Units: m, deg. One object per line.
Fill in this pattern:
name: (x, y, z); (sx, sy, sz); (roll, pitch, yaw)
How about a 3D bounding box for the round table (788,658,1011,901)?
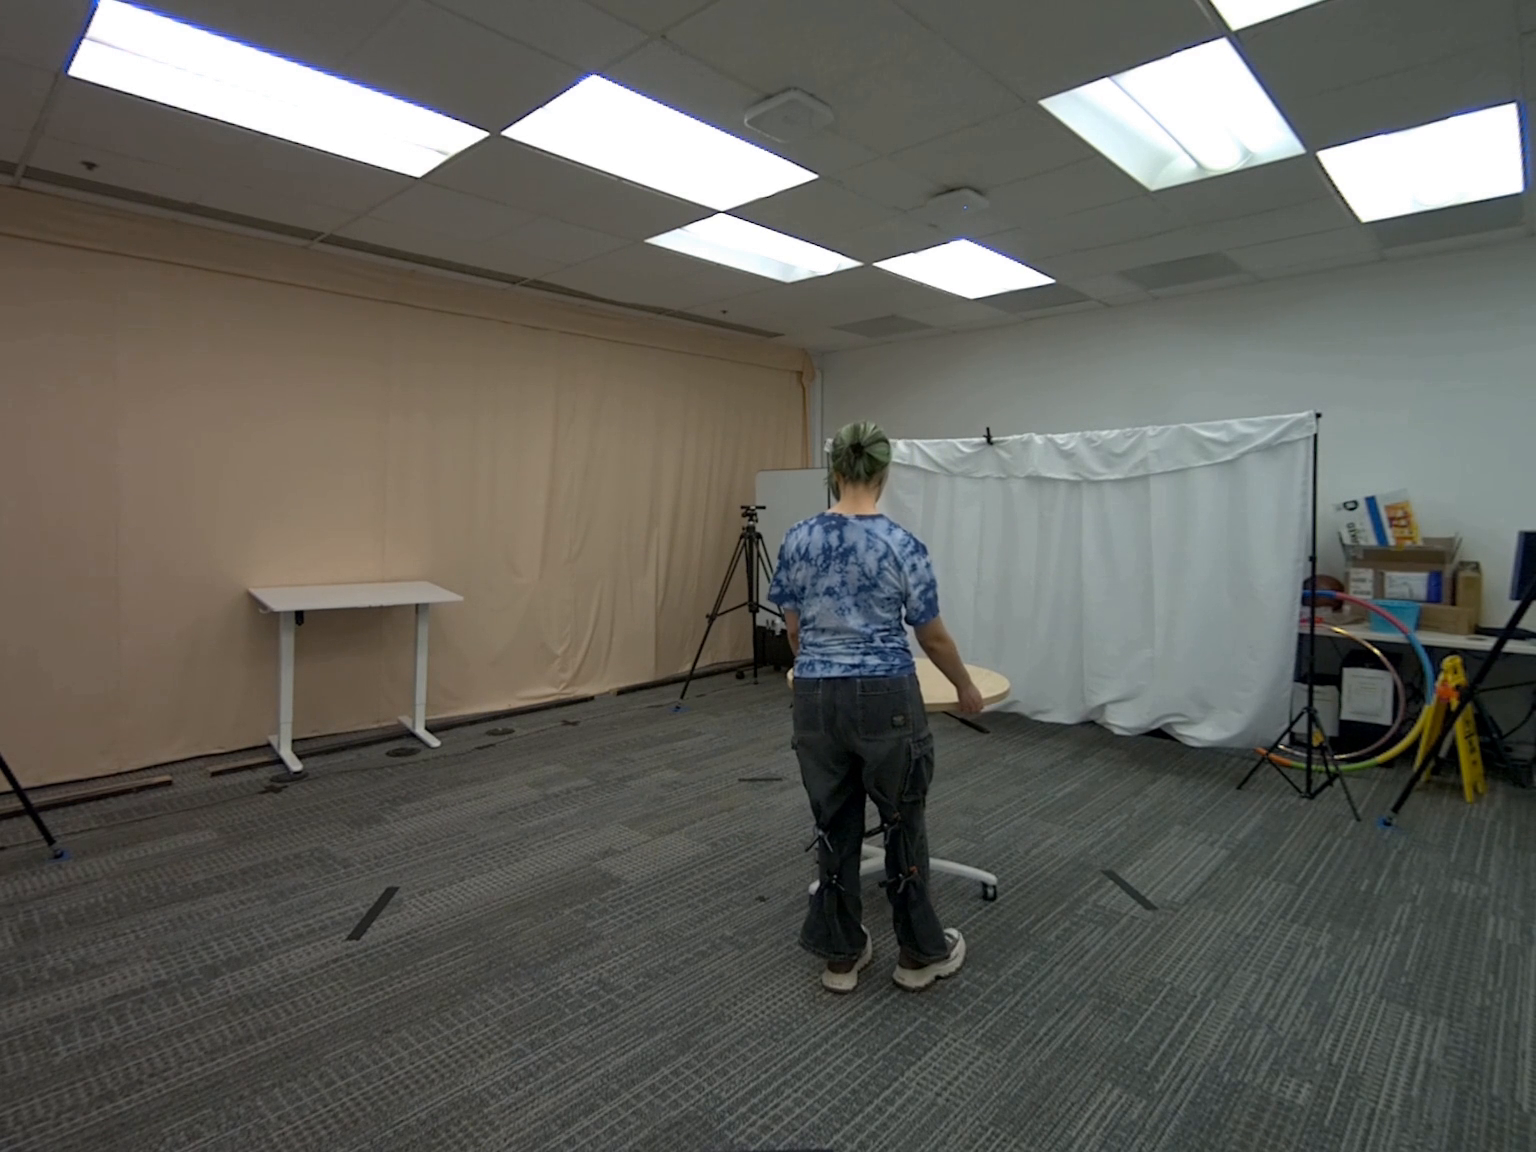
round table: (0.450, 0.749, 3.011); (0.763, 0.792, 0.767); (0, 4, -2)
